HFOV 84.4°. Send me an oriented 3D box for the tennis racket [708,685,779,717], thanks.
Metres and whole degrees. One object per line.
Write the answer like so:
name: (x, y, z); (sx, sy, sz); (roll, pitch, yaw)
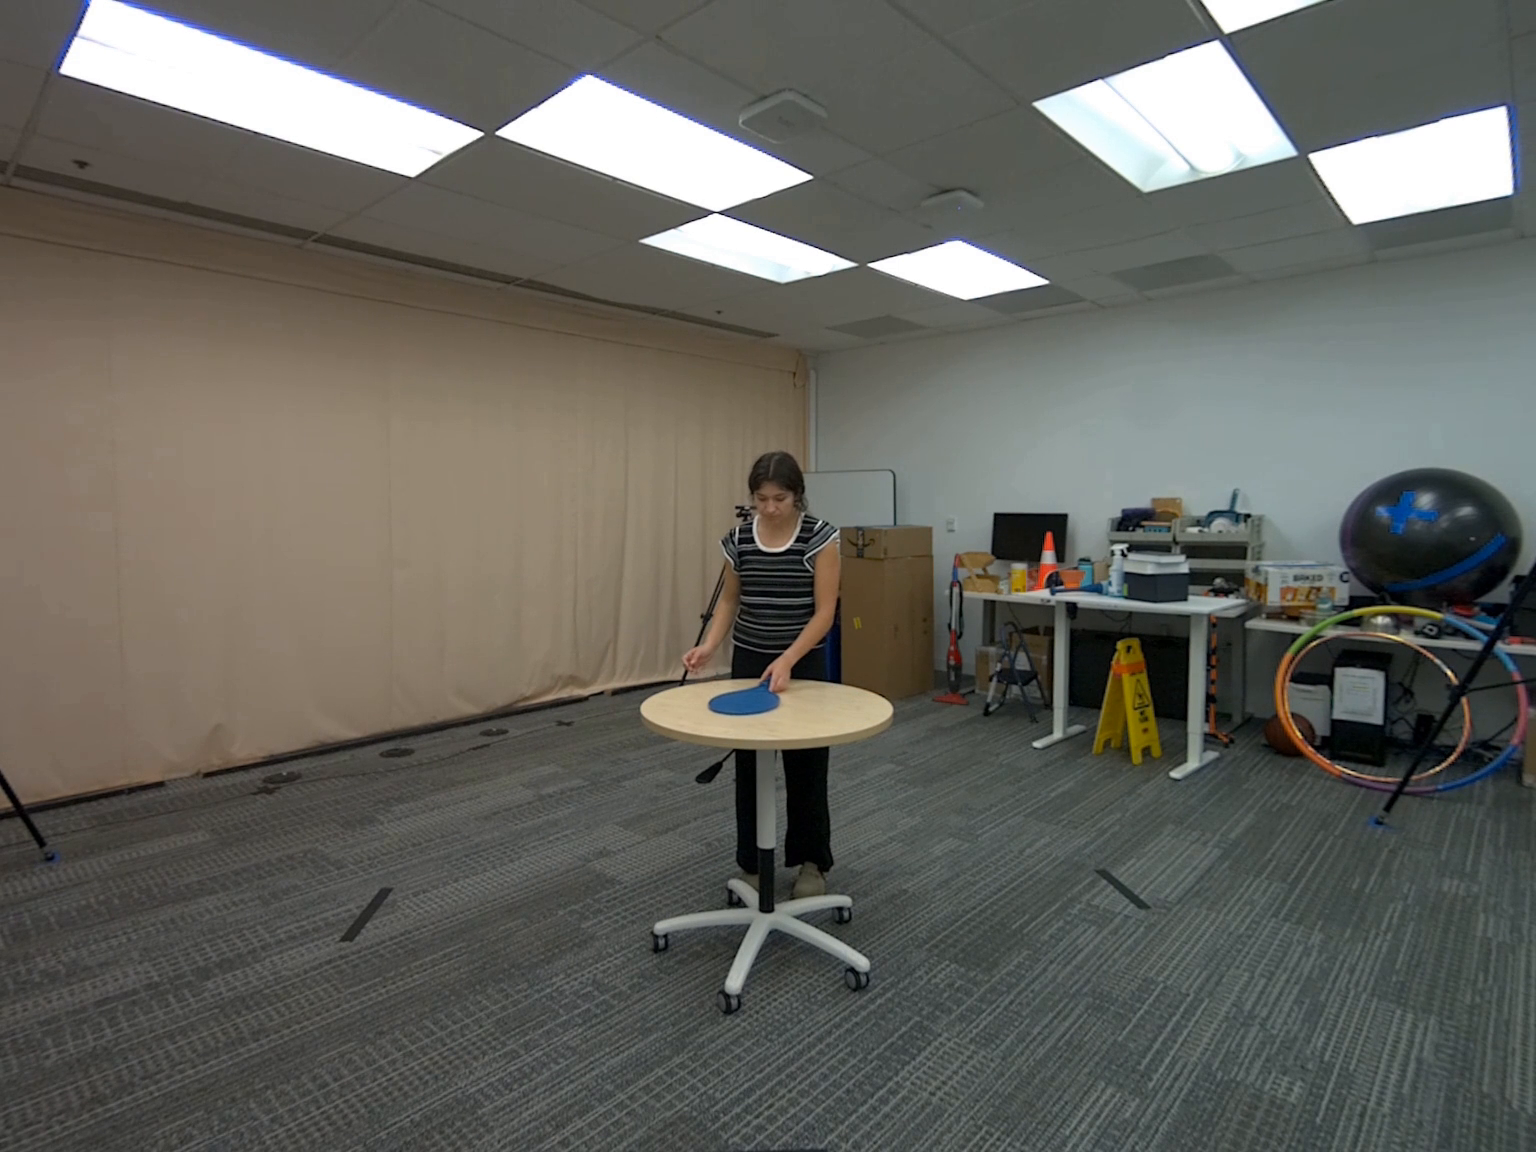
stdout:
tennis racket: (-0.064, 0.380, 2.656); (0.217, 0.031, 0.427); (1, 7, 15)
